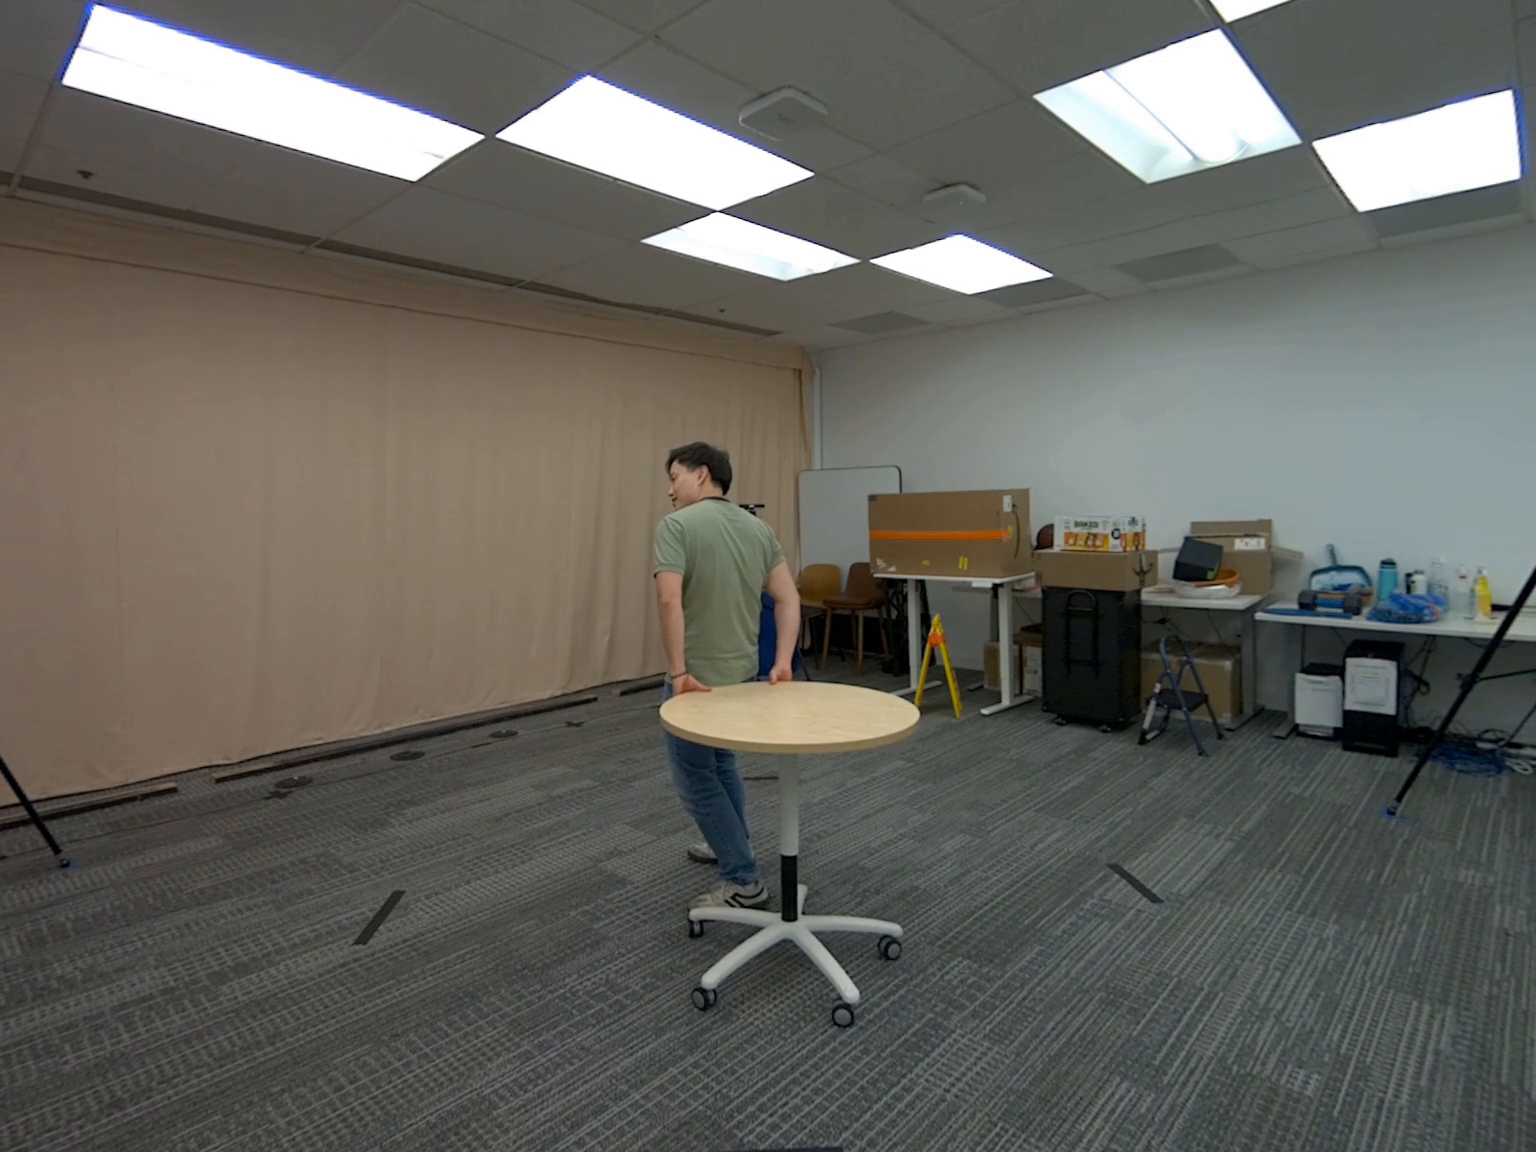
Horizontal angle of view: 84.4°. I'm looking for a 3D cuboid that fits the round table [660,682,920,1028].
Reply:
[{"bbox_3d":[0.070,0.788,2.534,0.763,0.792,0.767,-1,4,-2],"label":"round table"}]
